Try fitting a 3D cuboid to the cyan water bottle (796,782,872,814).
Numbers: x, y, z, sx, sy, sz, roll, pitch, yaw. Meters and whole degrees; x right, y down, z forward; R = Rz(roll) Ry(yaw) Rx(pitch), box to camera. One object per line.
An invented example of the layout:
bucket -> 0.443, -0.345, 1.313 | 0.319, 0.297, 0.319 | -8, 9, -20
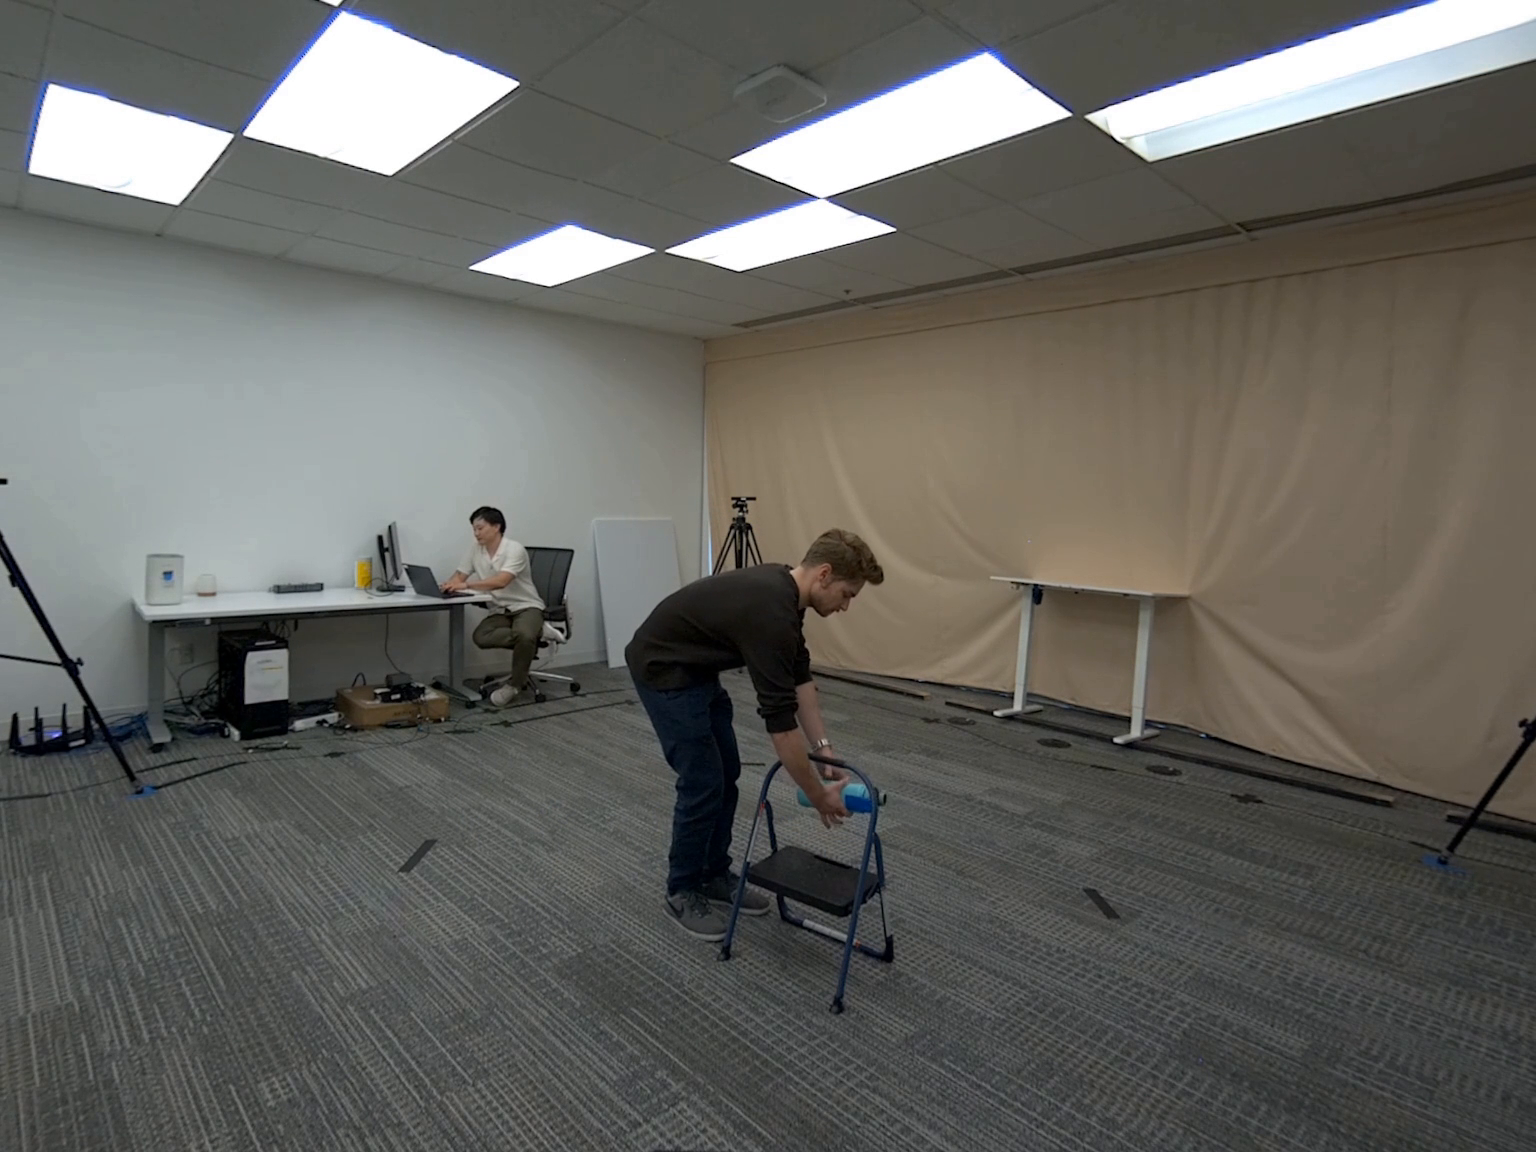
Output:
cyan water bottle -> 0.227, 0.700, 2.661 | 0.289, 0.092, 0.090 | -3, 1, 32
